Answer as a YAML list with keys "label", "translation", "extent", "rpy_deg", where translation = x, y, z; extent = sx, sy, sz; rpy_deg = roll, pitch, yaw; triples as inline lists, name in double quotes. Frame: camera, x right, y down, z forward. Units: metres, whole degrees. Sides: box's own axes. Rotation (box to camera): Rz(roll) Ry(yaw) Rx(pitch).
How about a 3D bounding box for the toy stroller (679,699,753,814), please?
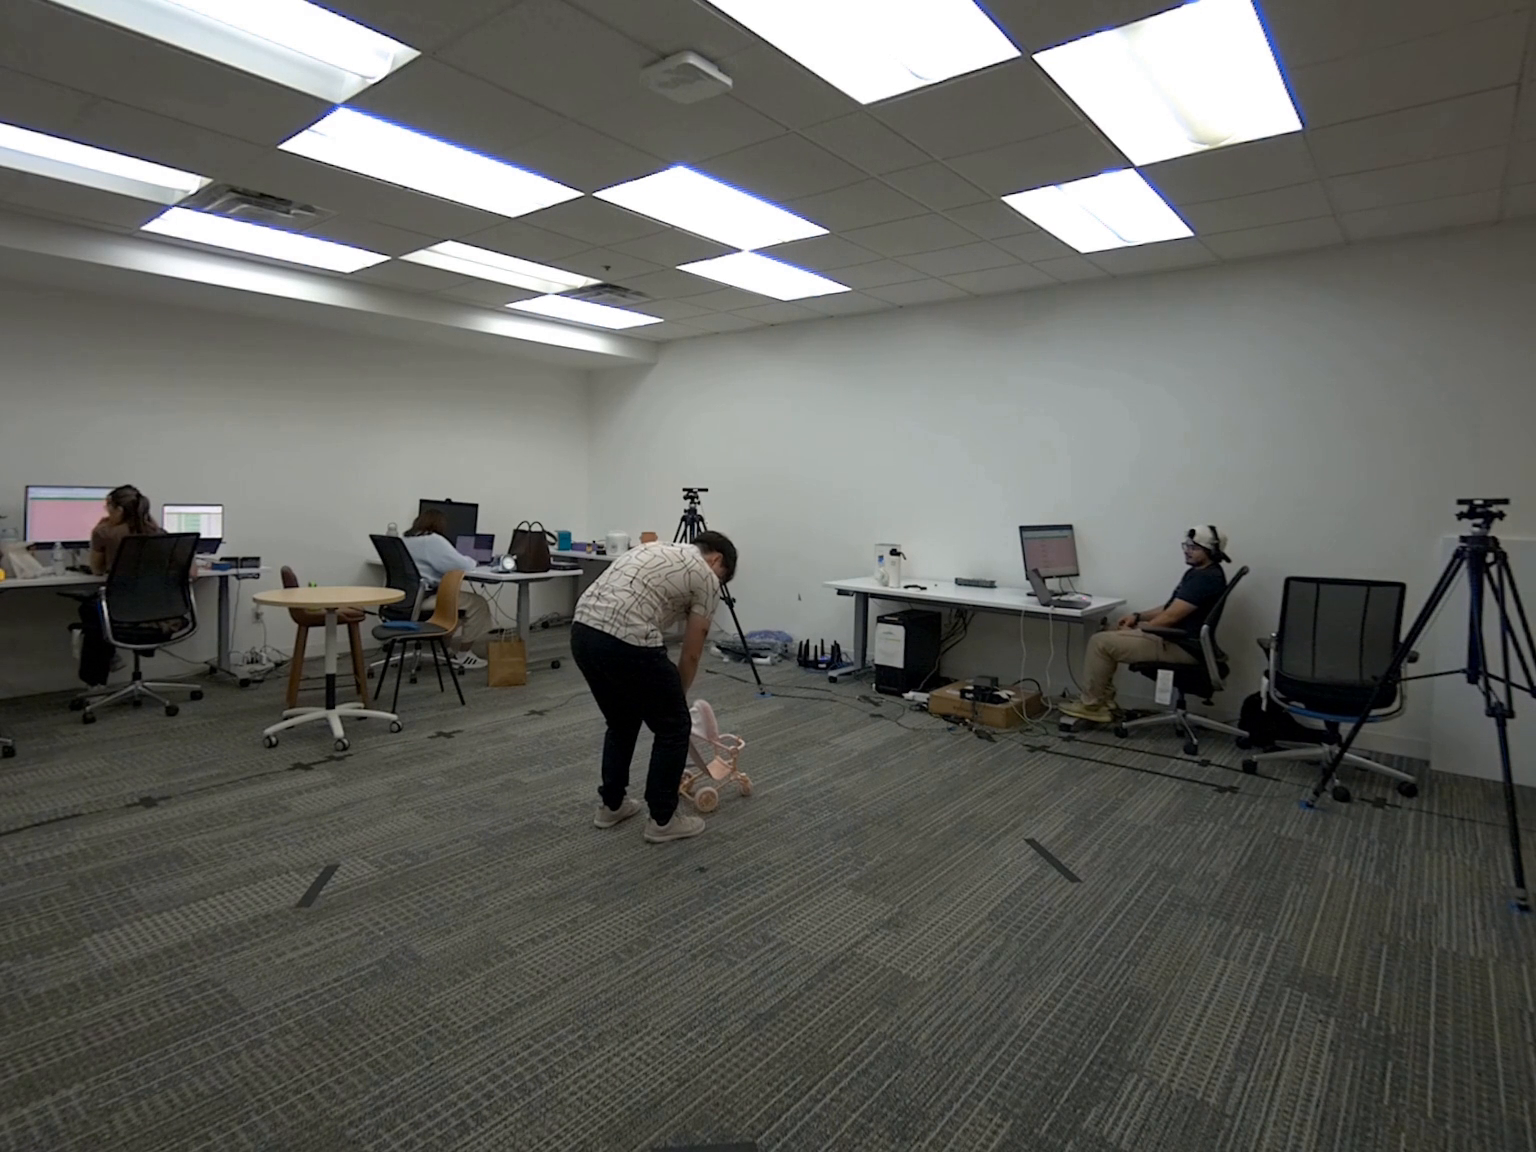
- label: "toy stroller"
  translation: [-0.279, 0.780, 3.787]
  extent: [0.337, 0.529, 0.289]
  rpy_deg: [-19, 11, -21]
